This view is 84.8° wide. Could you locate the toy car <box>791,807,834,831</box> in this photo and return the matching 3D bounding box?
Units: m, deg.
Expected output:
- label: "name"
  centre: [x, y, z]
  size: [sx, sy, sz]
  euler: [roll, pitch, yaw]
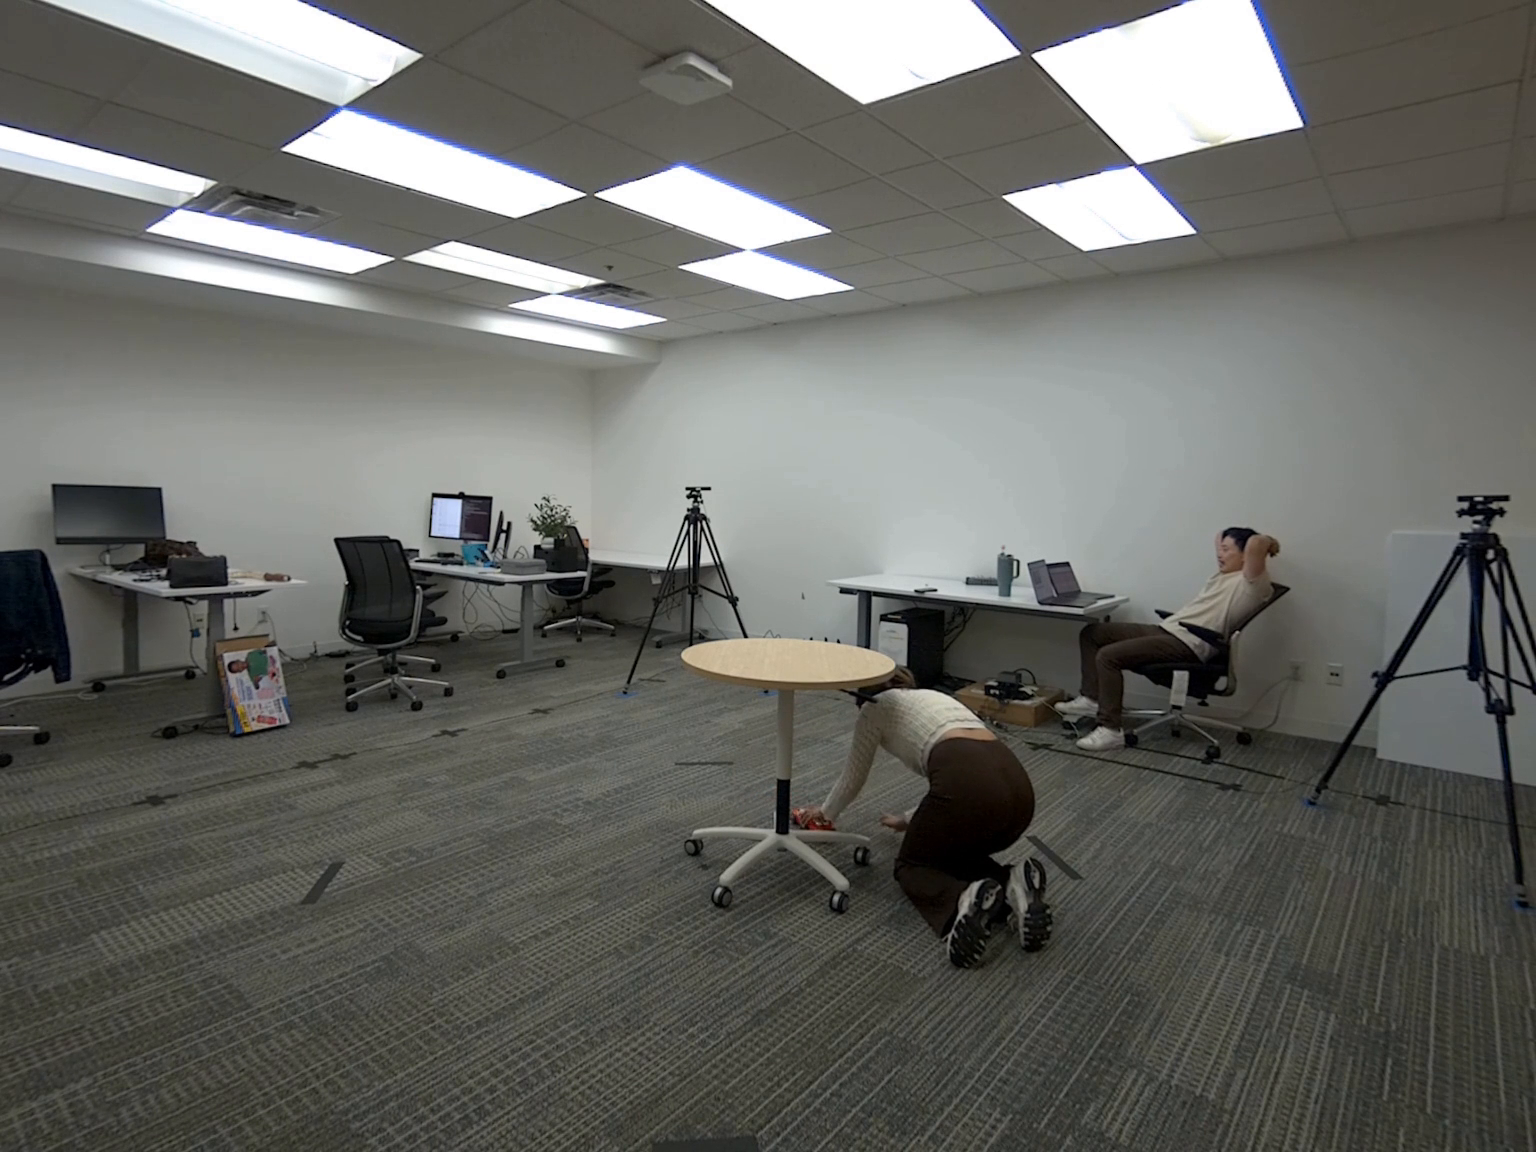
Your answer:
- label: "toy car"
  centre: [0.181, 1.009, 3.473]
  size: [0.128, 0.083, 0.257]
  euler: [-1, -3, -17]
